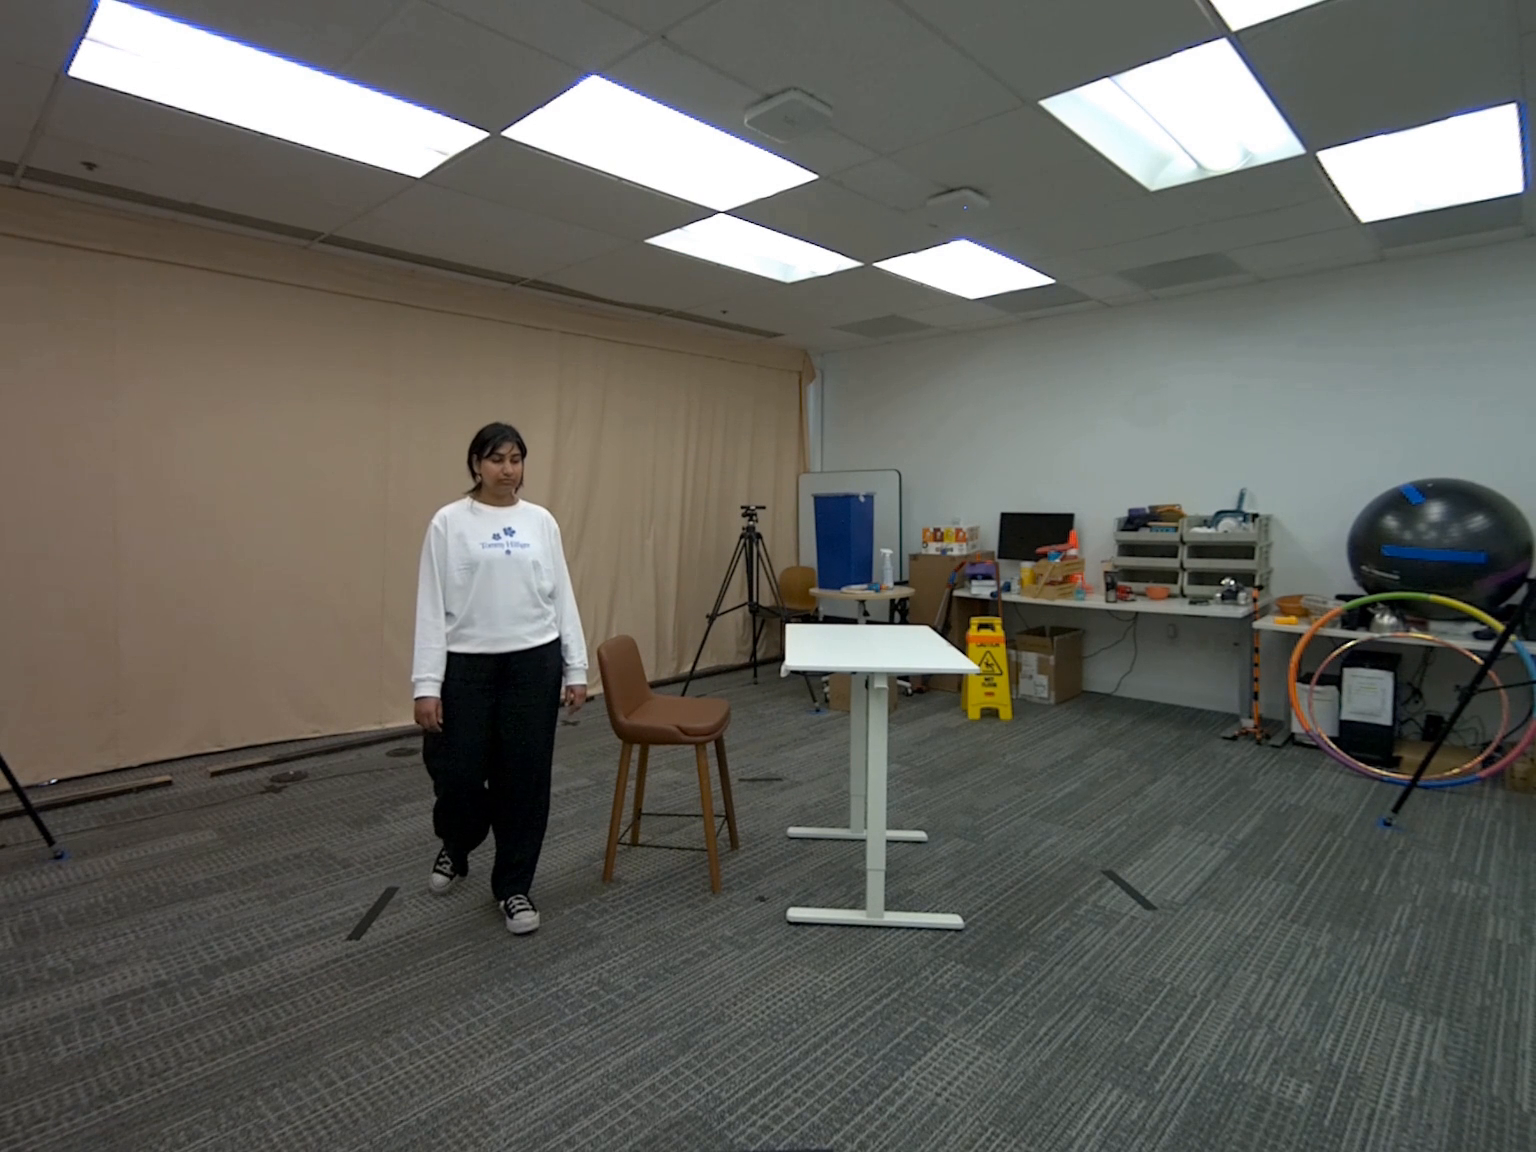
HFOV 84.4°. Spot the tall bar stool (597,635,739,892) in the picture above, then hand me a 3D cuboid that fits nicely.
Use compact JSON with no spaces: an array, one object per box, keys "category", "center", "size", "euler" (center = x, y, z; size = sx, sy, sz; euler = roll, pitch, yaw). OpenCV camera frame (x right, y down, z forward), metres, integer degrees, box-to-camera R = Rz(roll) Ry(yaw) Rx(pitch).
[{"category":"tall bar stool","center":[-0.377,0.692,3.246],"size":[0.474,0.888,0.451],"euler":[-2,3,11]}]
